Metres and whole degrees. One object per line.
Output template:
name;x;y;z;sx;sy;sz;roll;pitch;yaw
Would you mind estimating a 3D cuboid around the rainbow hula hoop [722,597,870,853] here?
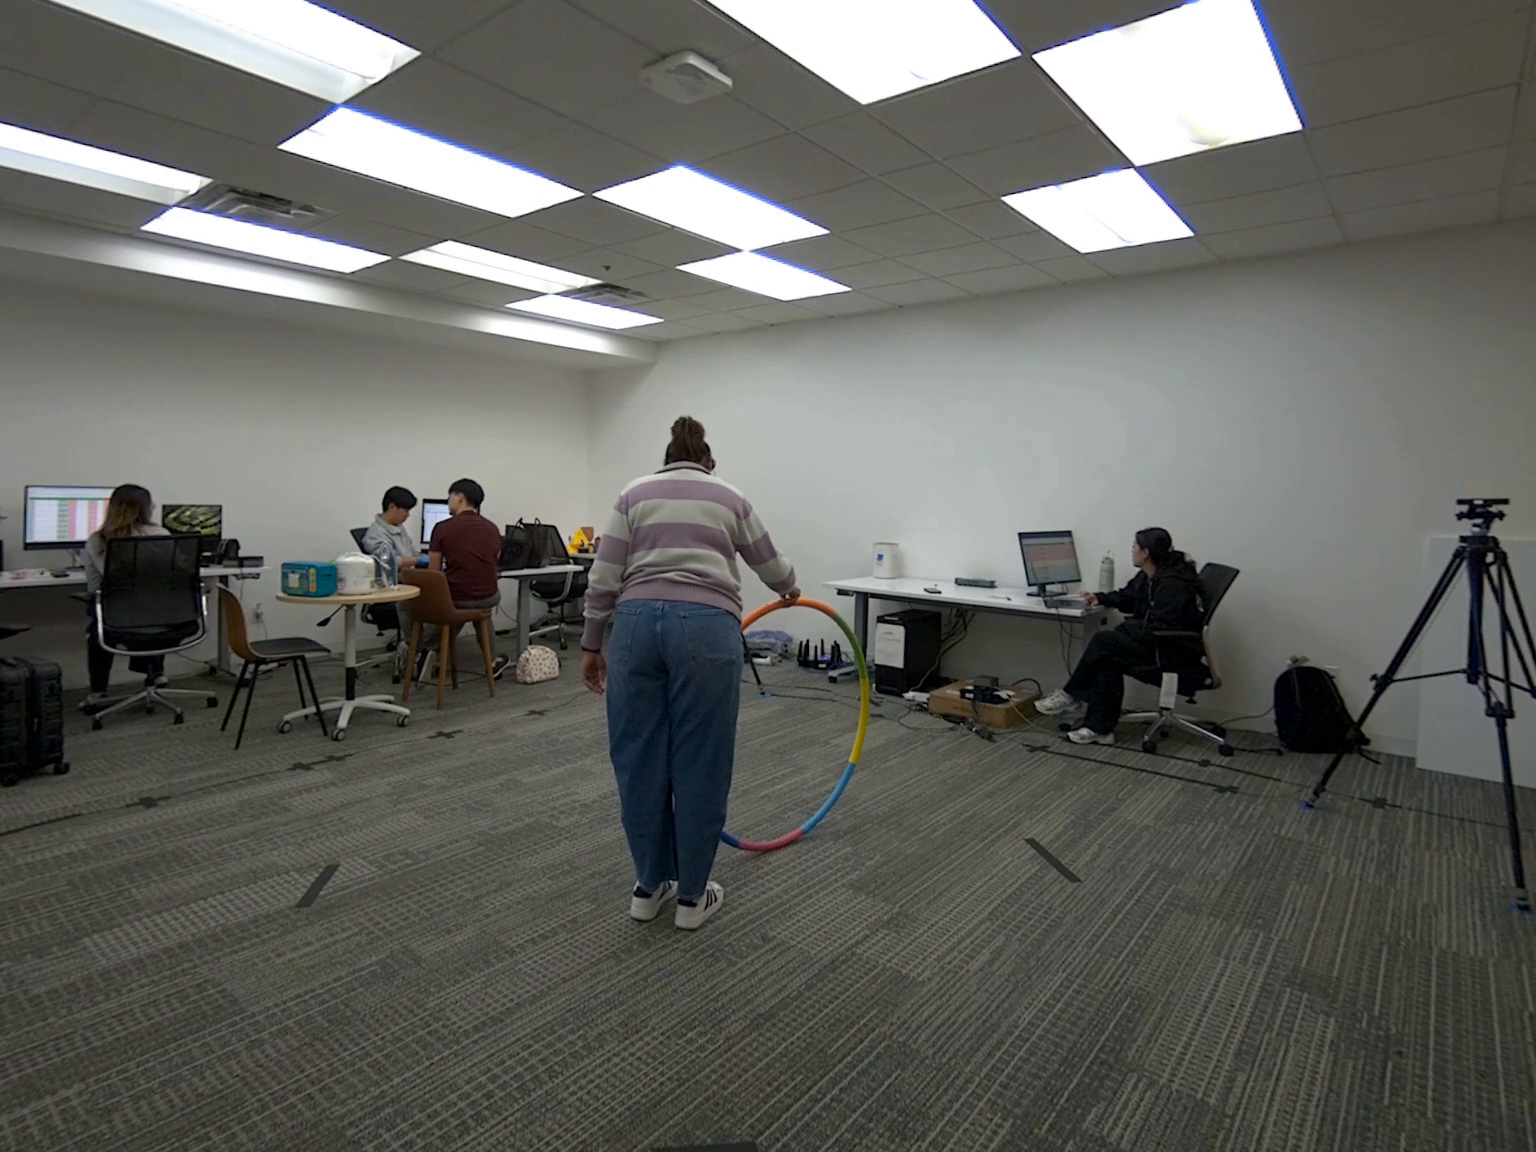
rainbow hula hoop;0.058;0.573;3.287;0.949;0.974;0.037;-3;7;-42
